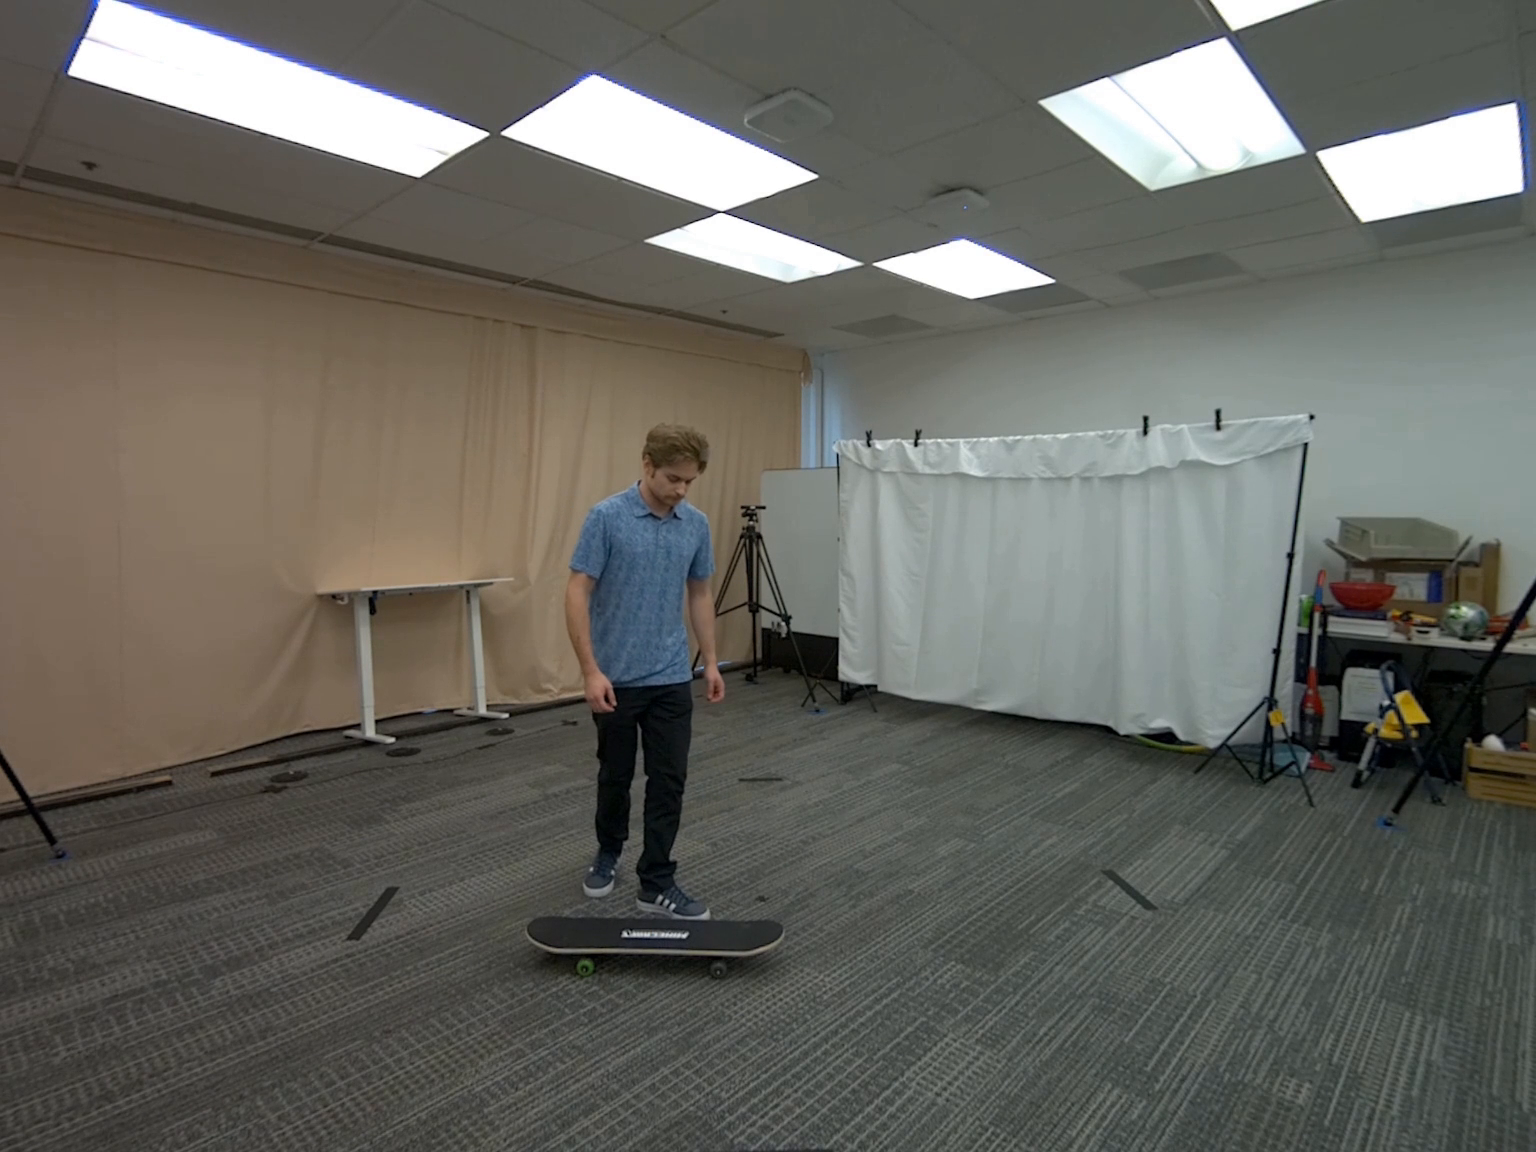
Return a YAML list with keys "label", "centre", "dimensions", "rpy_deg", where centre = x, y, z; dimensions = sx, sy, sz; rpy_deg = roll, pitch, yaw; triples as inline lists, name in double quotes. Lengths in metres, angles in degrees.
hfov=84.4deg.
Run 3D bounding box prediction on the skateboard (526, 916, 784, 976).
- label: "skateboard"
  centre: [-0.345, 1.129, 2.559]
  dimensions: [0.787, 0.110, 0.193]
  rpy_deg: [-1, 5, 2]
